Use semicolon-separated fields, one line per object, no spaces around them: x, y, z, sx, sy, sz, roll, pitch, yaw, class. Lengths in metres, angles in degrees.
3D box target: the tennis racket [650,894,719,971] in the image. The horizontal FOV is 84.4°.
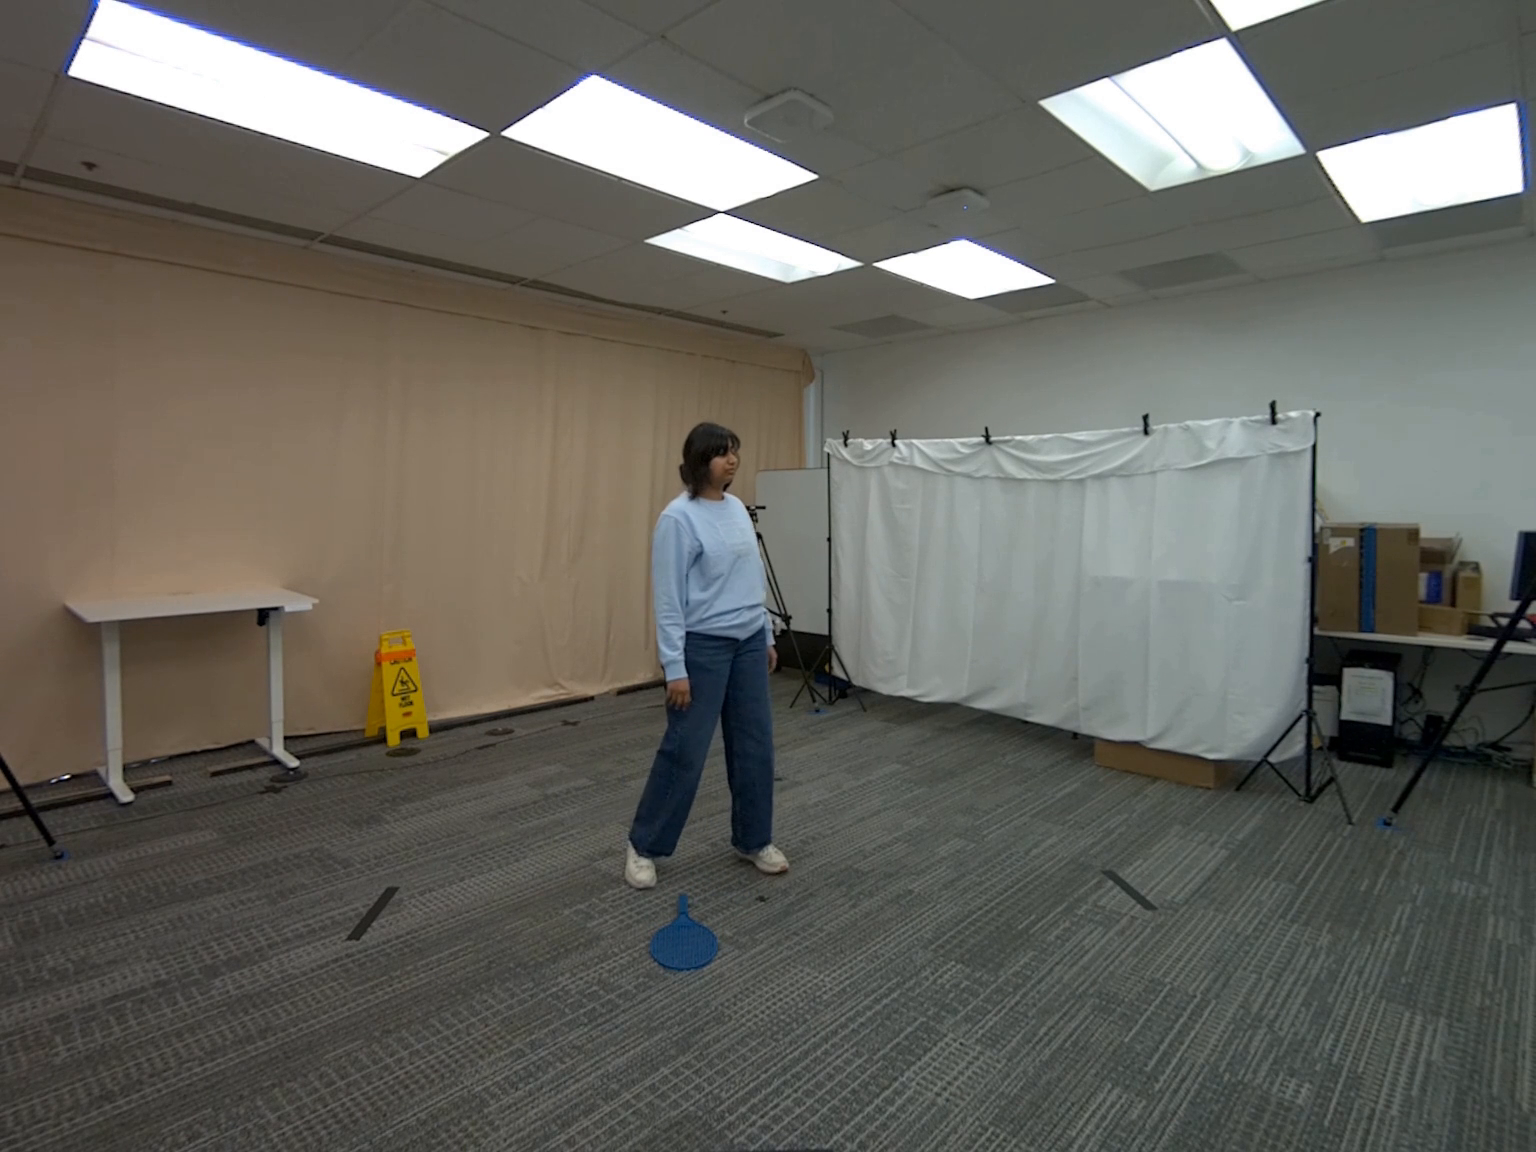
-0.270;1.154;2.735;0.213;0.031;0.436;0;6;-4;tennis racket
